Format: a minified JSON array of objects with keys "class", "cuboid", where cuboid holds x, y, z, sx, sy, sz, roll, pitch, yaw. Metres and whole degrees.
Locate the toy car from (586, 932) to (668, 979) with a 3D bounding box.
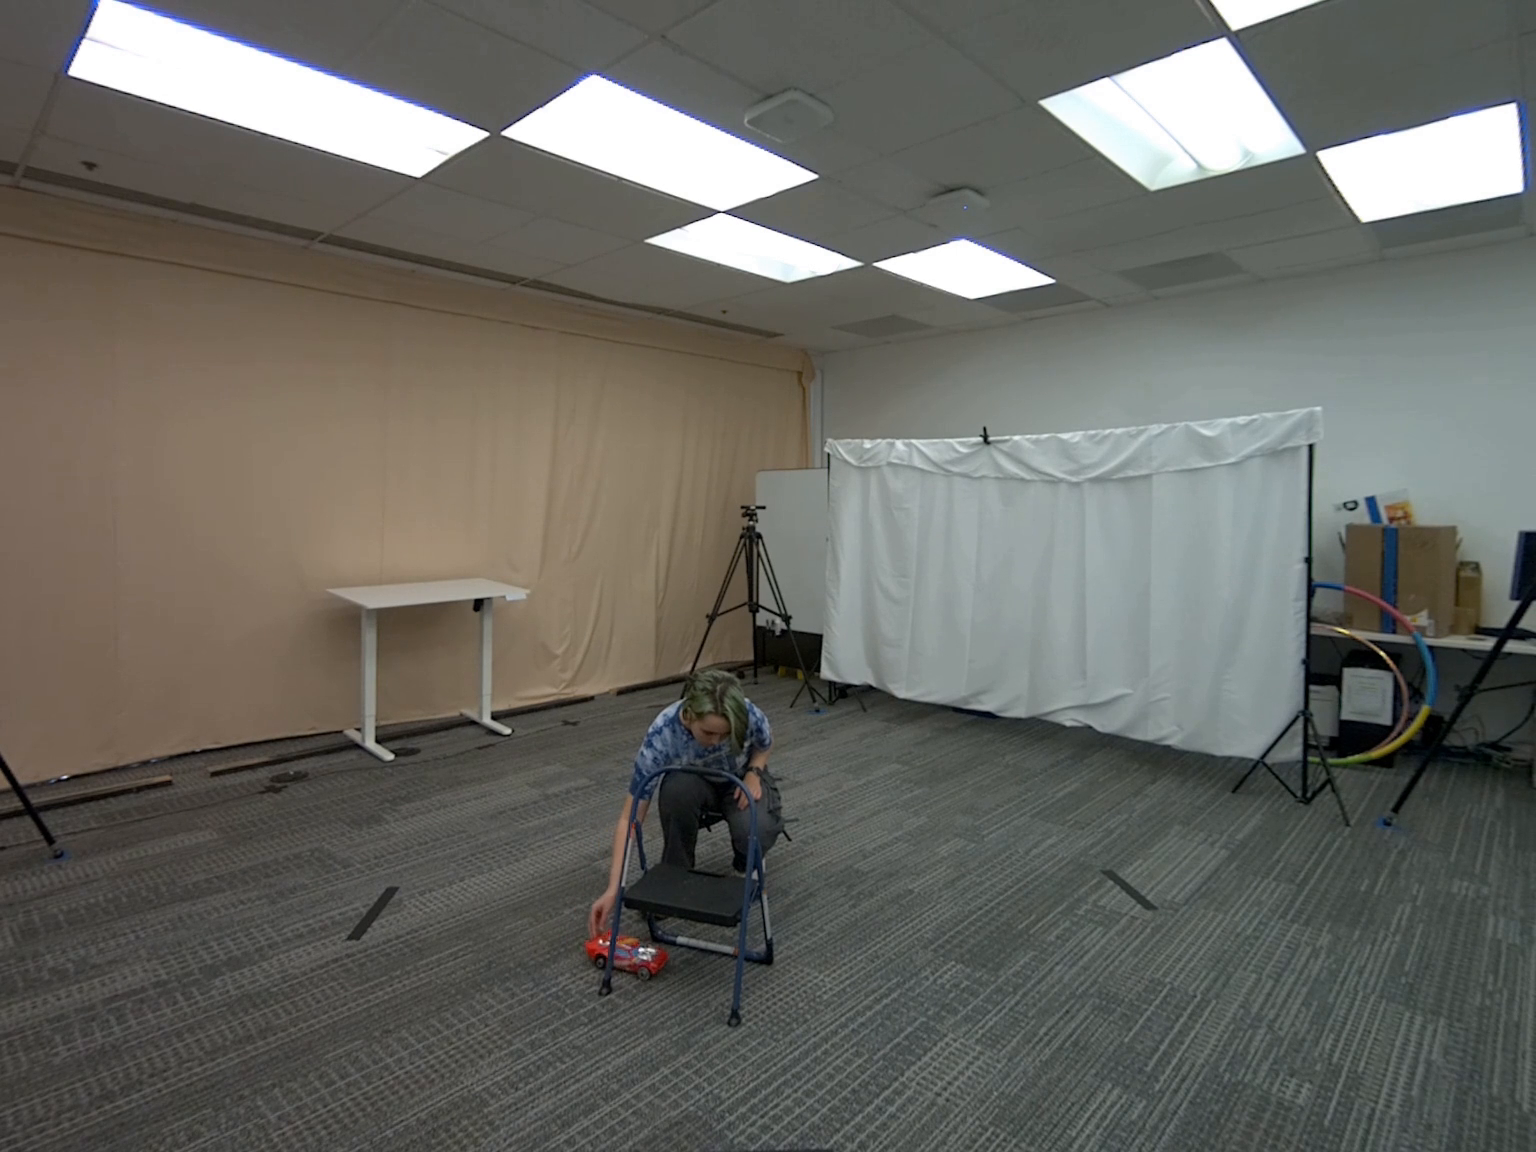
[{"class":"toy car","cuboid":[-0.432,1.148,2.557,0.261,0.083,0.128,13,11,21]}]
